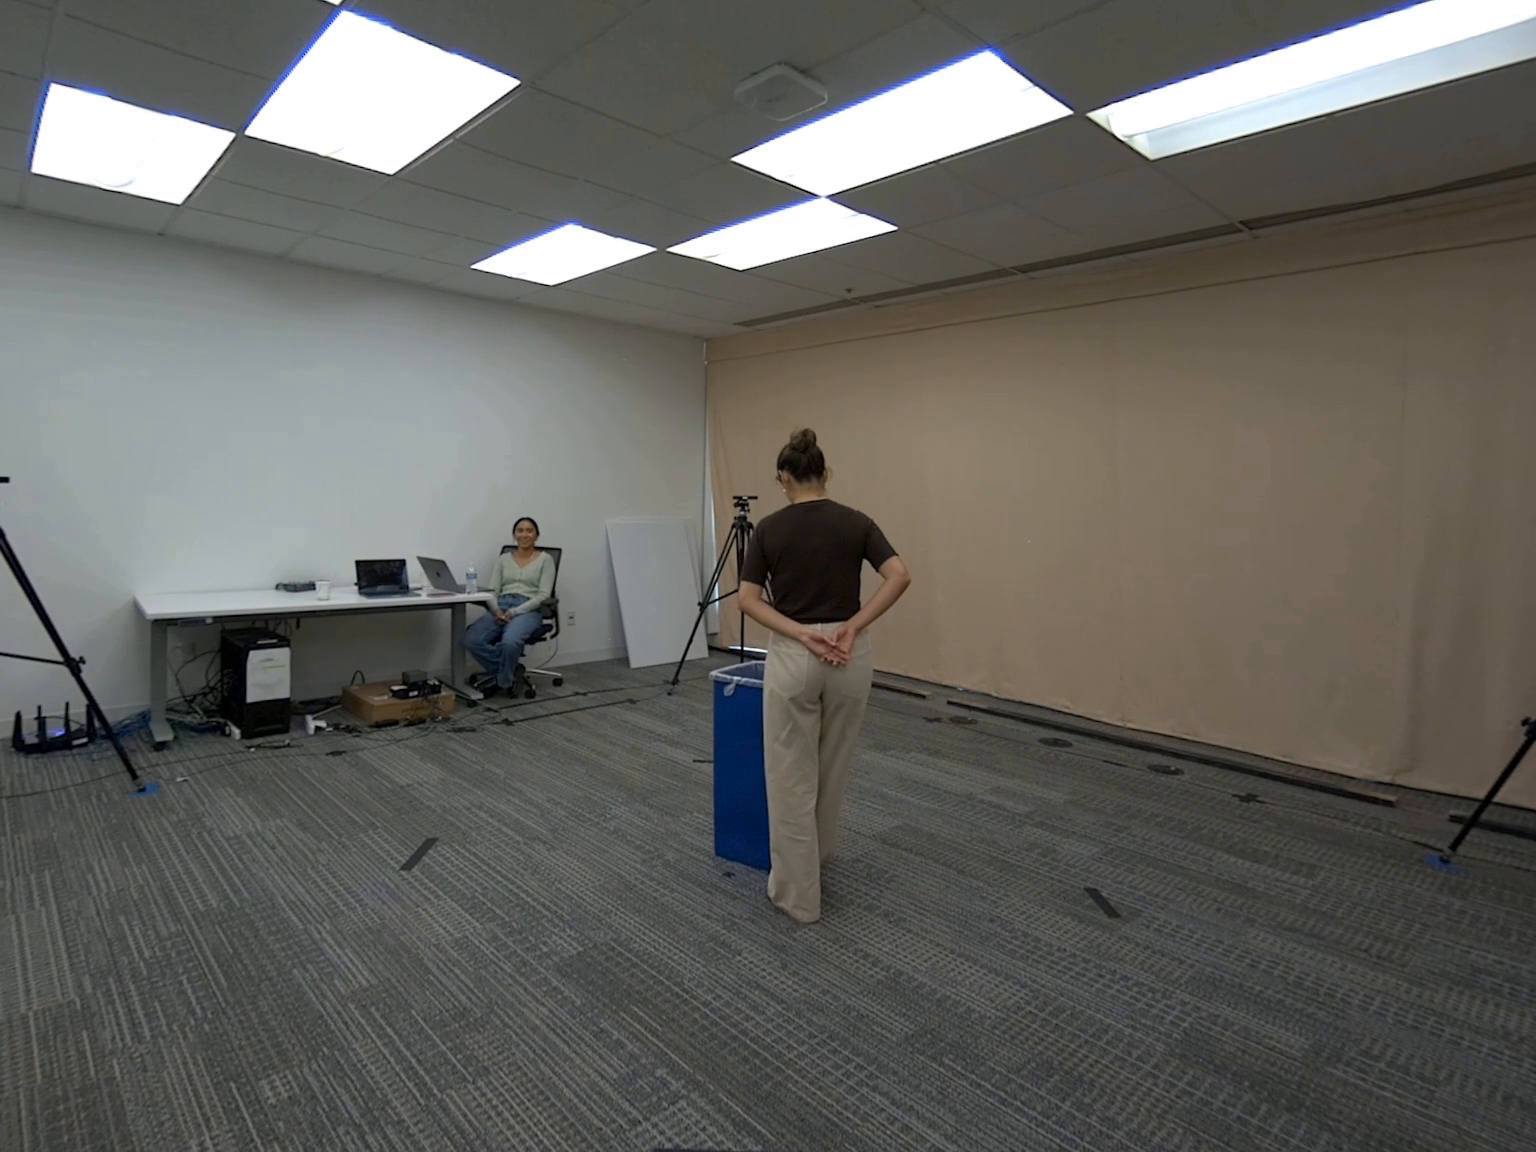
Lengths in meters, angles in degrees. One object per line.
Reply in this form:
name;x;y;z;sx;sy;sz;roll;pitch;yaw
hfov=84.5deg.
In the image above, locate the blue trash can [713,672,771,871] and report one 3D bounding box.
blue trash can;0.005;0.729;3.299;0.382;0.712;0.370;3;3;31
